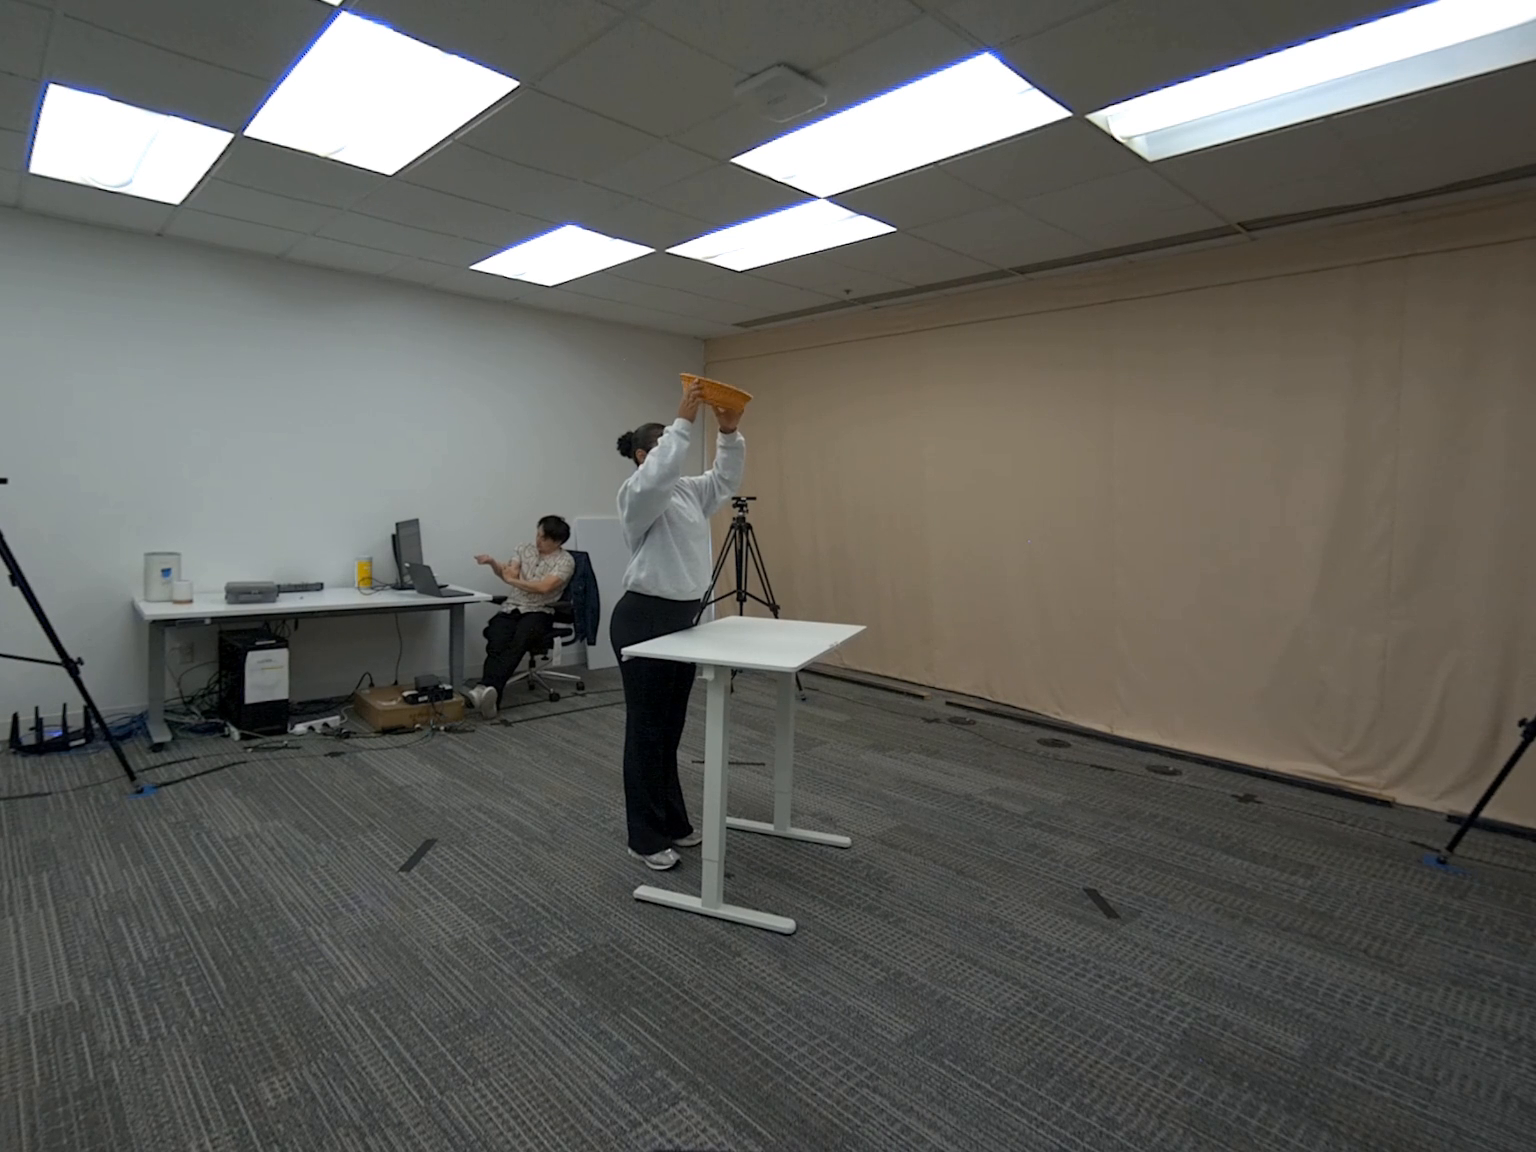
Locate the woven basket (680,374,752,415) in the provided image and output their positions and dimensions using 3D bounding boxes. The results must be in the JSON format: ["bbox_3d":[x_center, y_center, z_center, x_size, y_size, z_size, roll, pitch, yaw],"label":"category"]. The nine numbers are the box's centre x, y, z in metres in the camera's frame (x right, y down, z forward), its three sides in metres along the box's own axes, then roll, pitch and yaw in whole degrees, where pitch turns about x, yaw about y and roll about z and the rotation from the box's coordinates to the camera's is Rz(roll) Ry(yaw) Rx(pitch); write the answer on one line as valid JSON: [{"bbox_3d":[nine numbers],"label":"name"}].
[{"bbox_3d":[-0.211,-0.668,3.098,0.259,0.073,0.343,21,9,27],"label":"woven basket"}]
